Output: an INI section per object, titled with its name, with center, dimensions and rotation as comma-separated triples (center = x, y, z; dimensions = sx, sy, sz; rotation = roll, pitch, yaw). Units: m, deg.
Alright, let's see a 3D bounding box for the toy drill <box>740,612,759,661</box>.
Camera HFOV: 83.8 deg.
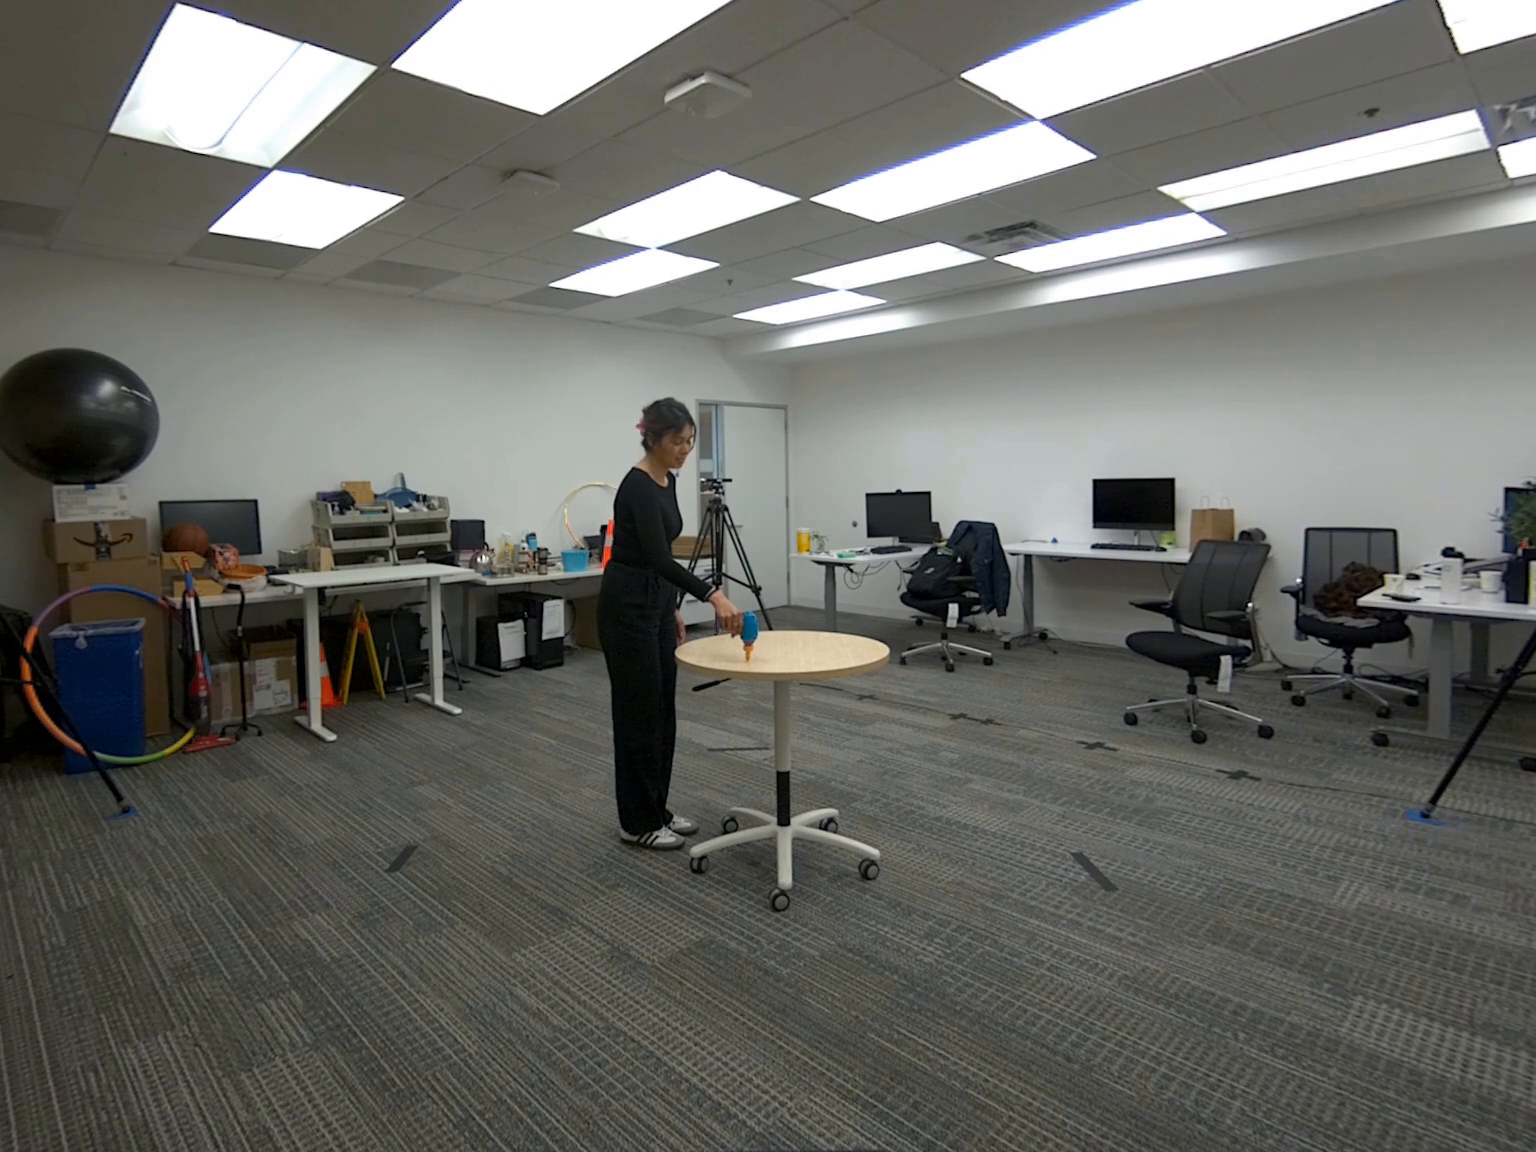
[toy drill]
center = -0.102, 0.198, 2.873
dimensions = 0.147, 0.168, 0.061
rotation = 3, 10, 8
